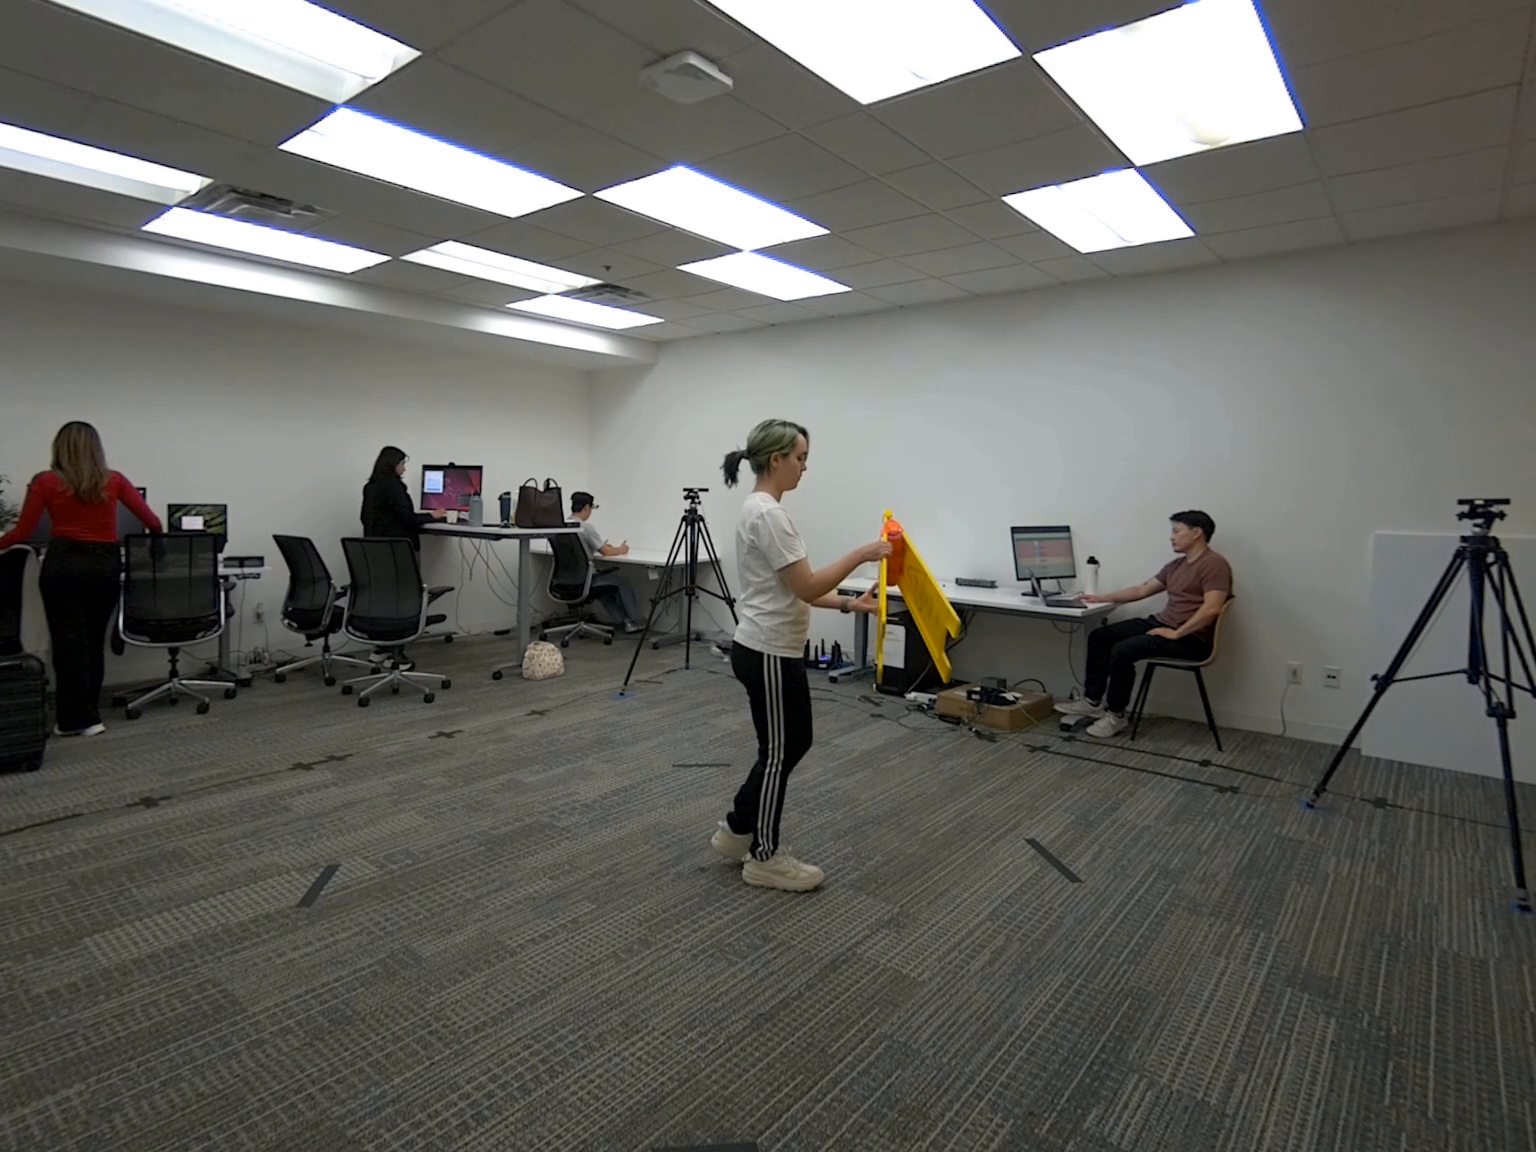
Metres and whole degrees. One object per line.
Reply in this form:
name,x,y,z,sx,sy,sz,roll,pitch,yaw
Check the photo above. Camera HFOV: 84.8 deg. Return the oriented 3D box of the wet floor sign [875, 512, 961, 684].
wet floor sign,0.449,0.038,2.942,0.290,0.274,0.665,-1,41,-1
